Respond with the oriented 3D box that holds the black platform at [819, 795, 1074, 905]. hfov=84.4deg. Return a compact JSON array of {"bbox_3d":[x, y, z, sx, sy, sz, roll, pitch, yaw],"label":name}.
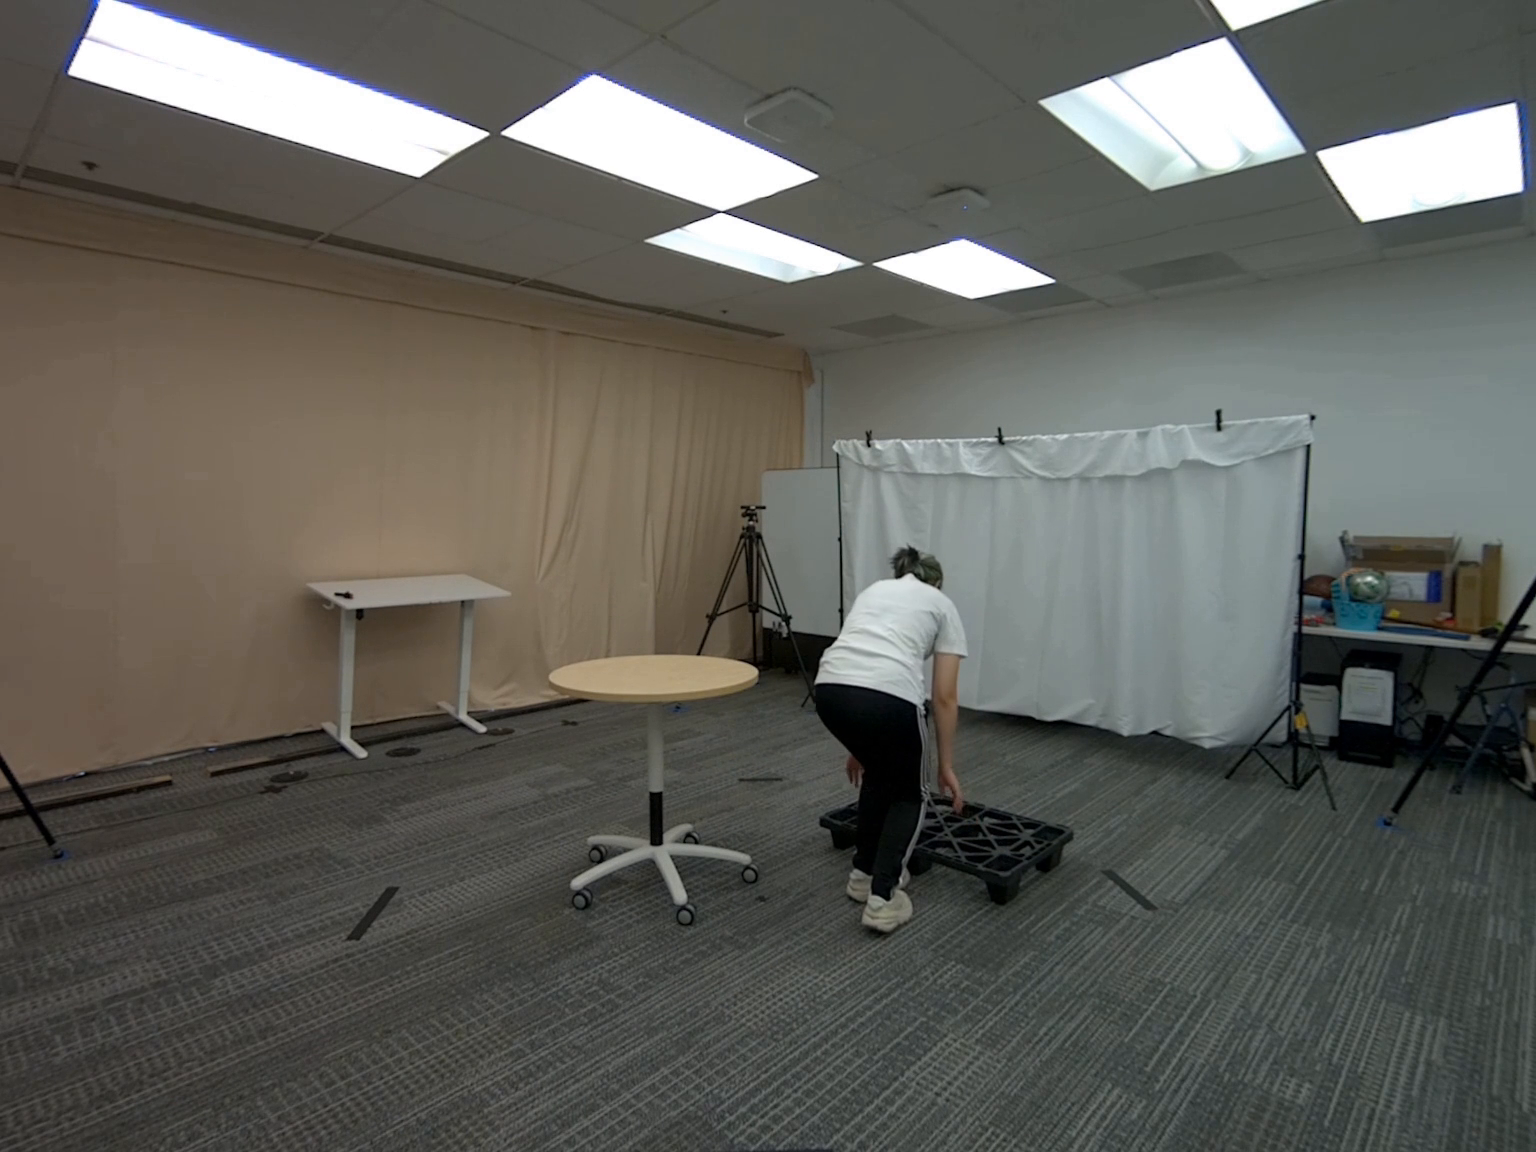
[{"bbox_3d":[0.698,1.044,3.343,0.832,0.143,0.586,4,5,42],"label":"black platform"}]
